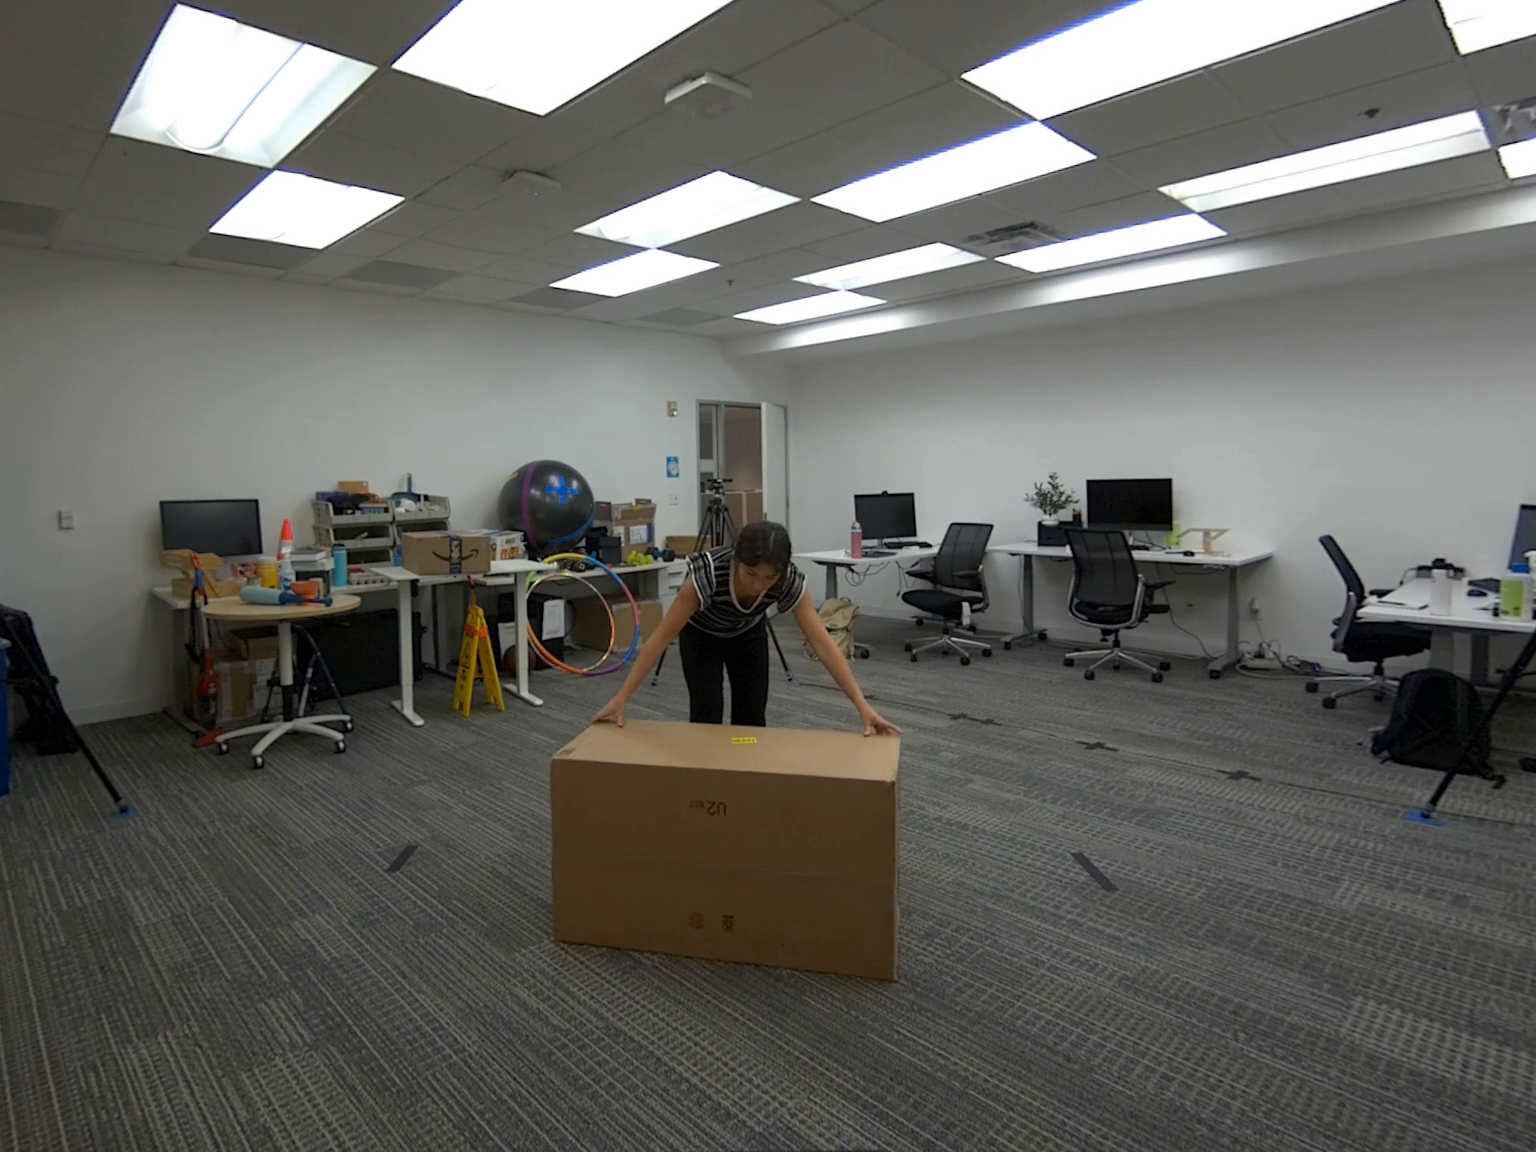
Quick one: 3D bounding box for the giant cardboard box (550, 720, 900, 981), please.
[{"bbox_3d":[-0.108,0.805,2.659,1.039,0.575,0.422,1,4,12],"label":"giant cardboard box"}]
